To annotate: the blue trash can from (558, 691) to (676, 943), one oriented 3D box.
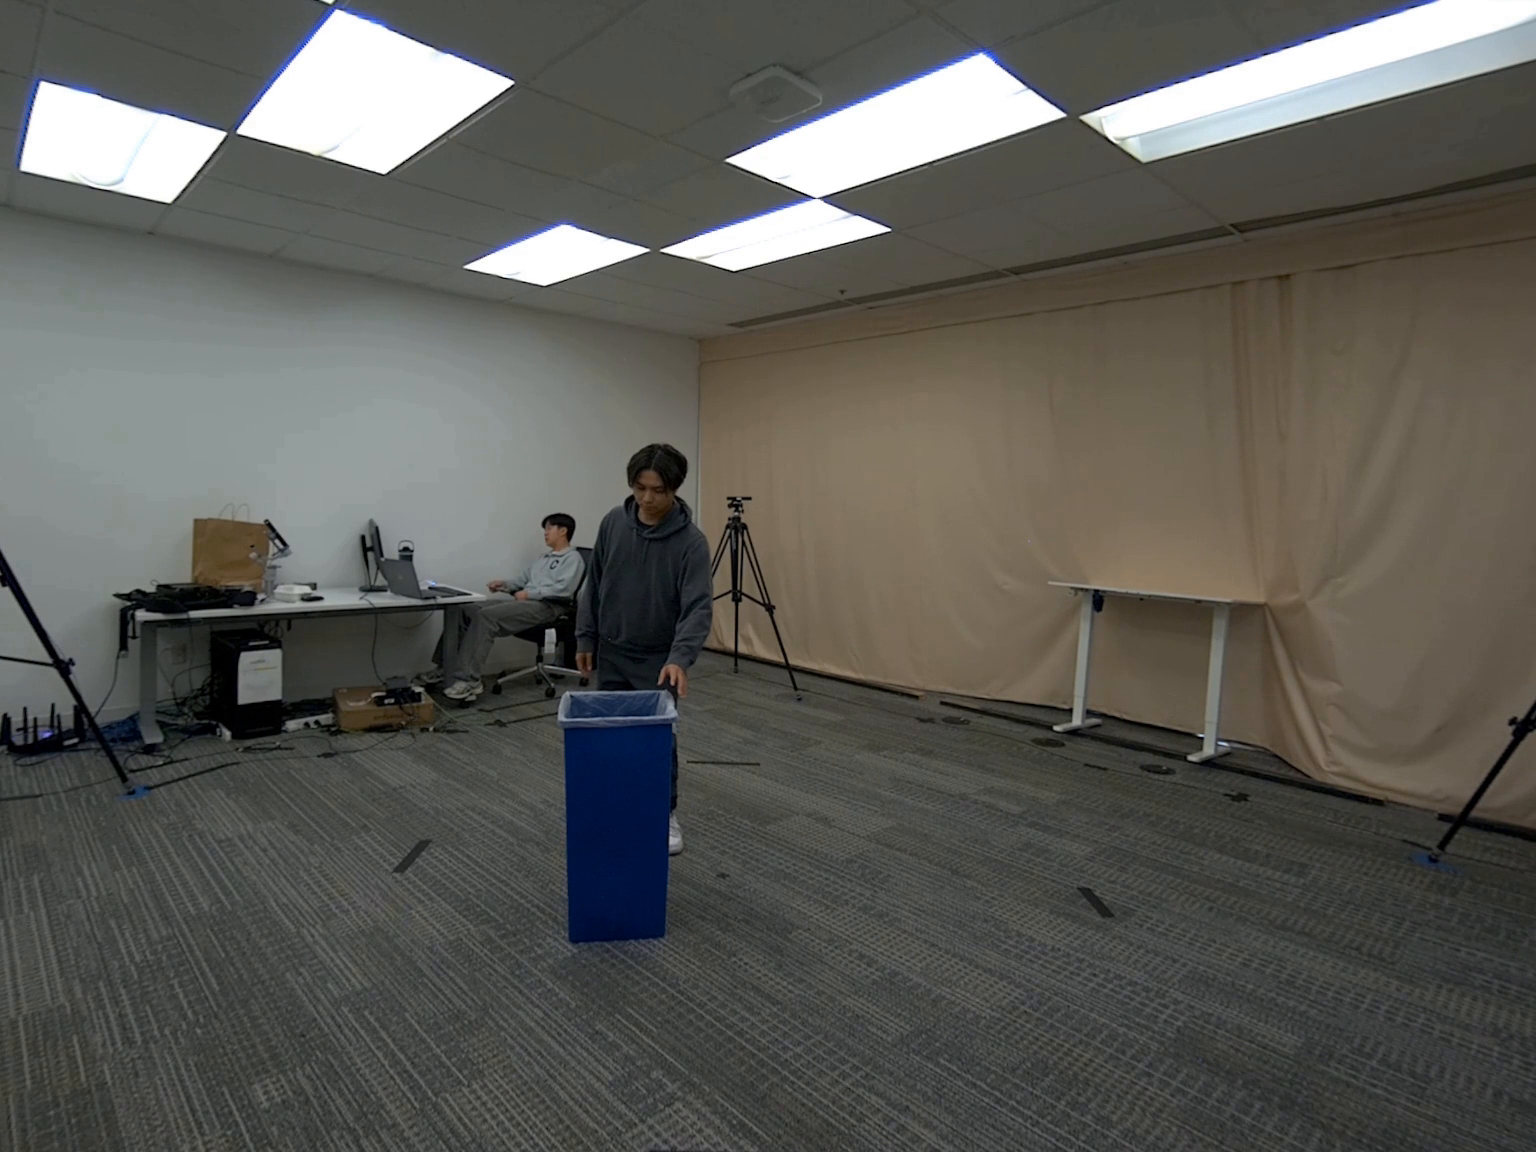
[{"bbox_3d":[-0.507,0.774,2.758,0.371,0.712,0.382,1,3,-10],"label":"blue trash can"}]
